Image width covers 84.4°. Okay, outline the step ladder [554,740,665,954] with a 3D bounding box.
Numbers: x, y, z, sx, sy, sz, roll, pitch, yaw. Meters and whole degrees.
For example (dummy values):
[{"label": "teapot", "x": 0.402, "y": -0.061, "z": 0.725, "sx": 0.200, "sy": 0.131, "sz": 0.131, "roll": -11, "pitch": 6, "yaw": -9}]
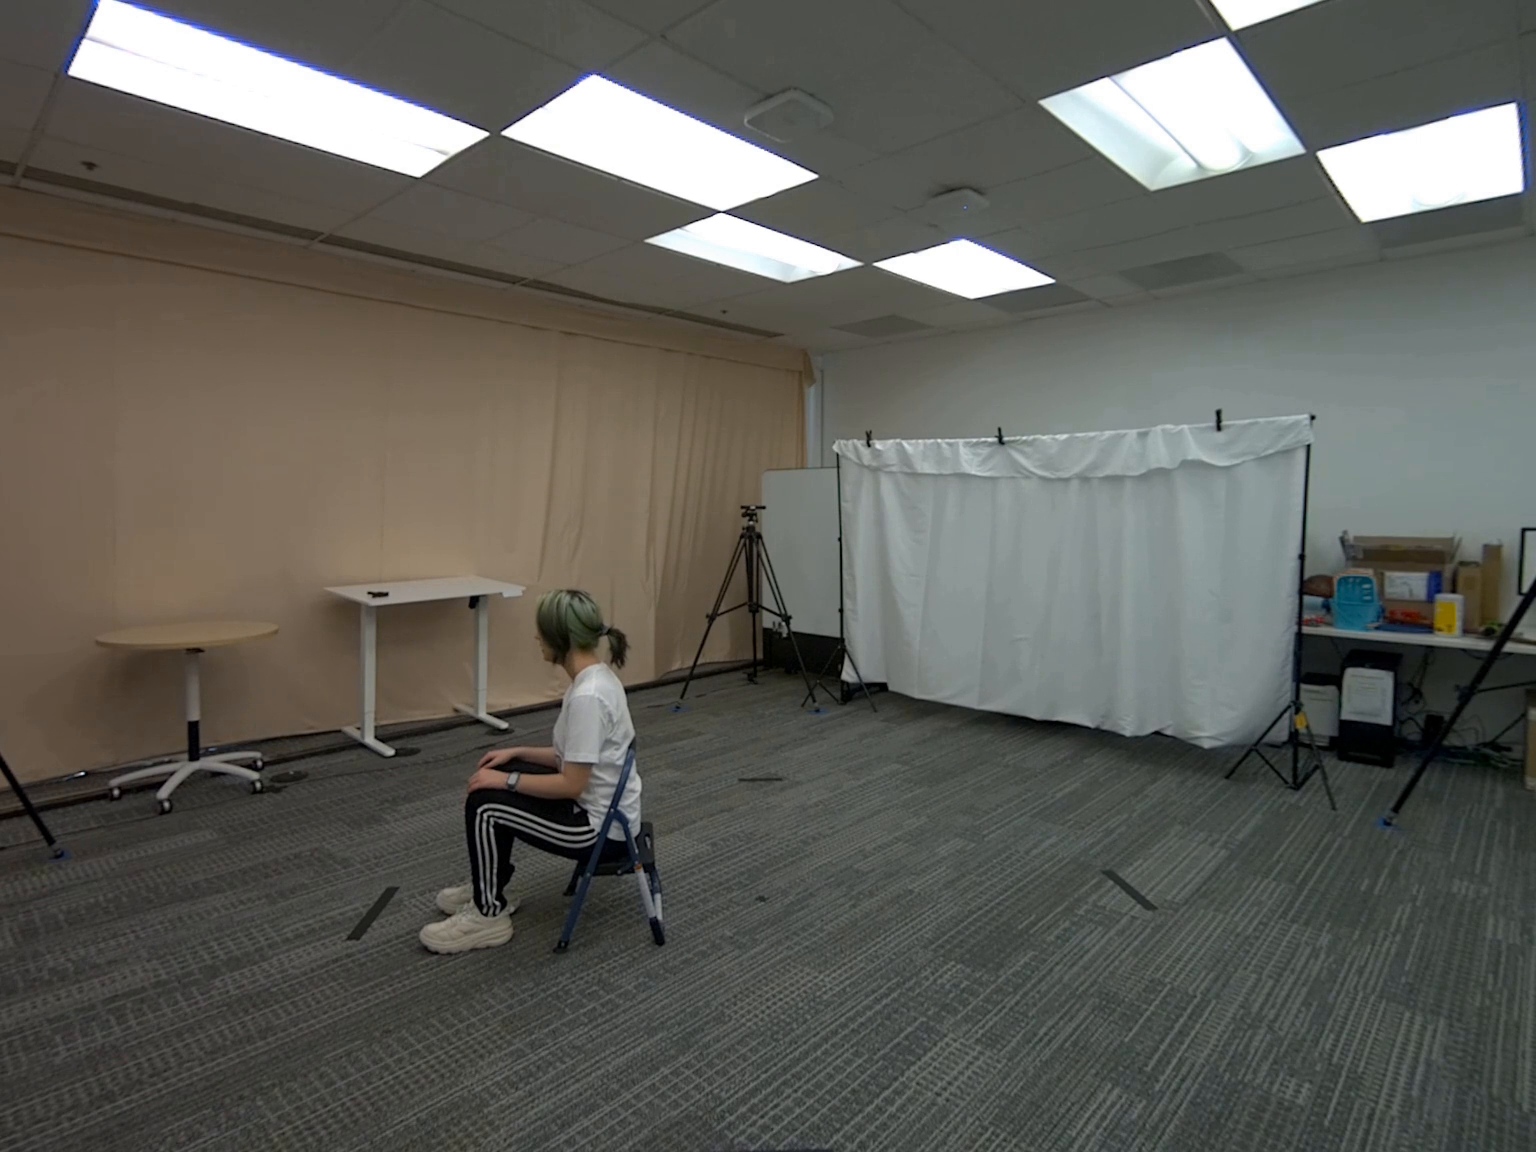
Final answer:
[{"label": "step ladder", "x": -0.531, "y": 0.865, "z": 2.835, "sx": 0.346, "sy": 0.605, "sz": 0.435, "roll": -2, "pitch": 3, "yaw": -9}]
